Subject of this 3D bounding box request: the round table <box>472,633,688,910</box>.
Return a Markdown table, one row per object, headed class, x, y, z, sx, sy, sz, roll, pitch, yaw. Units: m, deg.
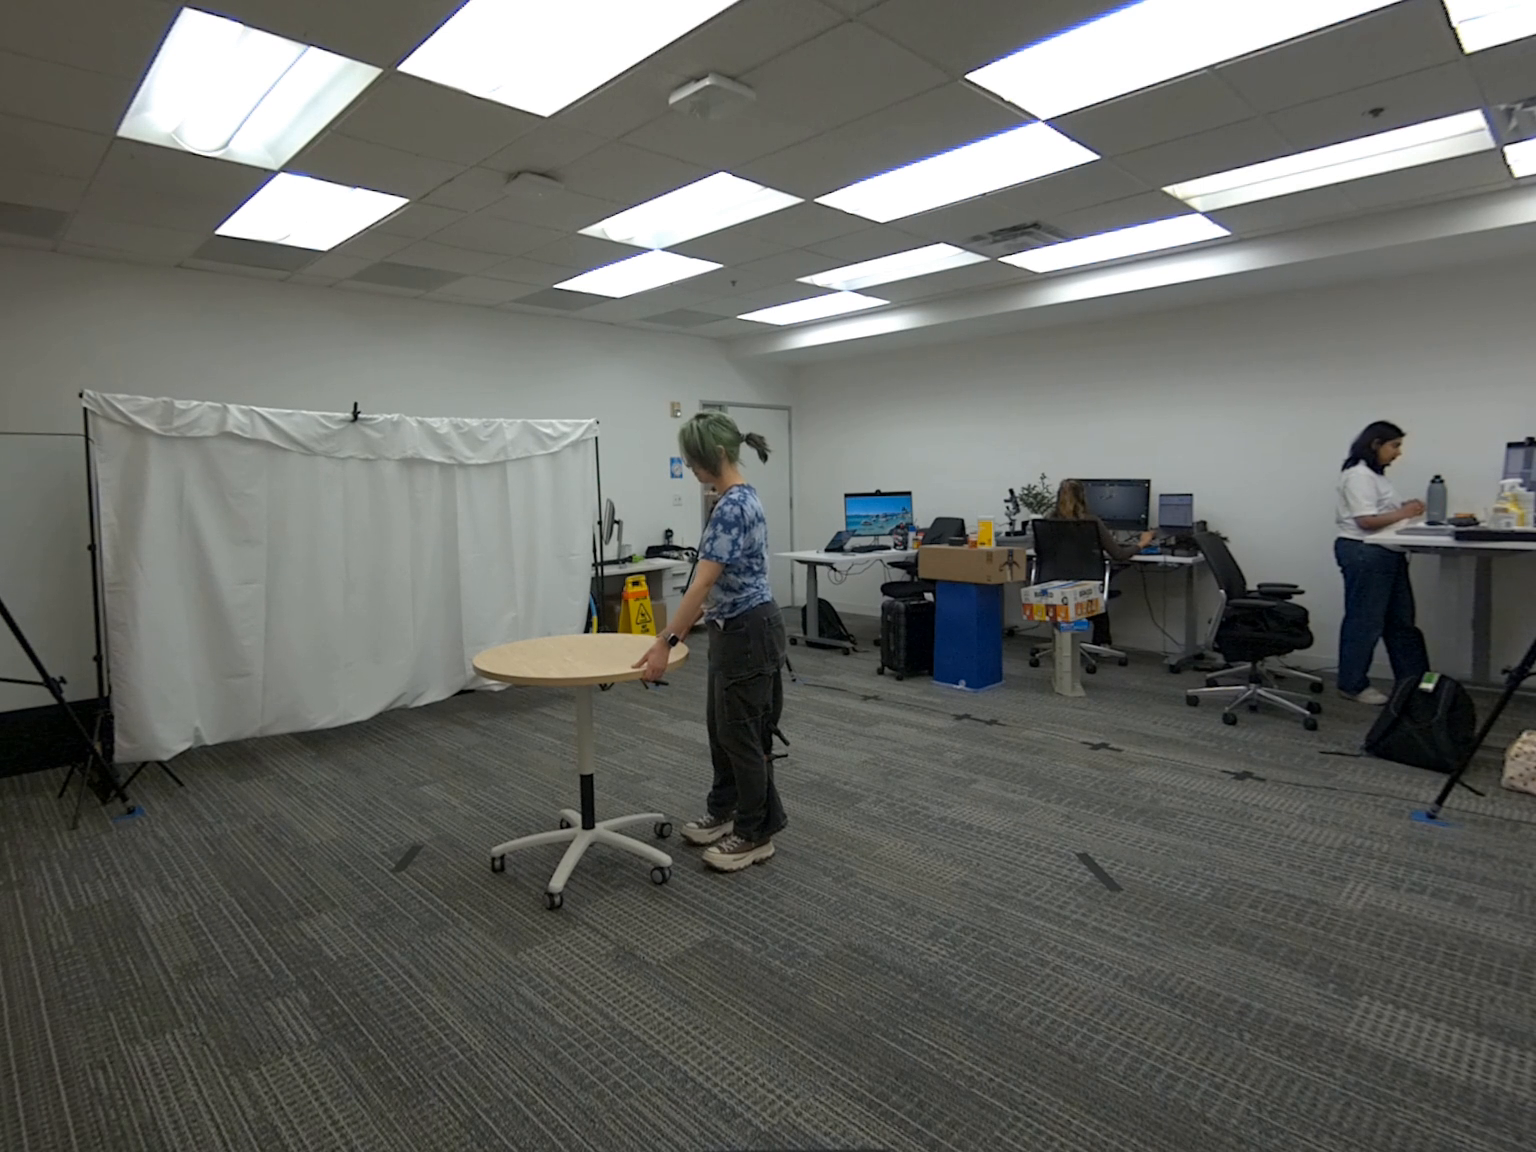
| class | x | y | z | sx | sy | sz | roll | pitch | yaw |
| --- | --- | --- | --- | --- | --- | --- | --- | --- | --- |
| round table | -0.655 | 0.670 | 3.098 | 0.763 | 0.791 | 0.768 | -2 | 5 | -2 |
